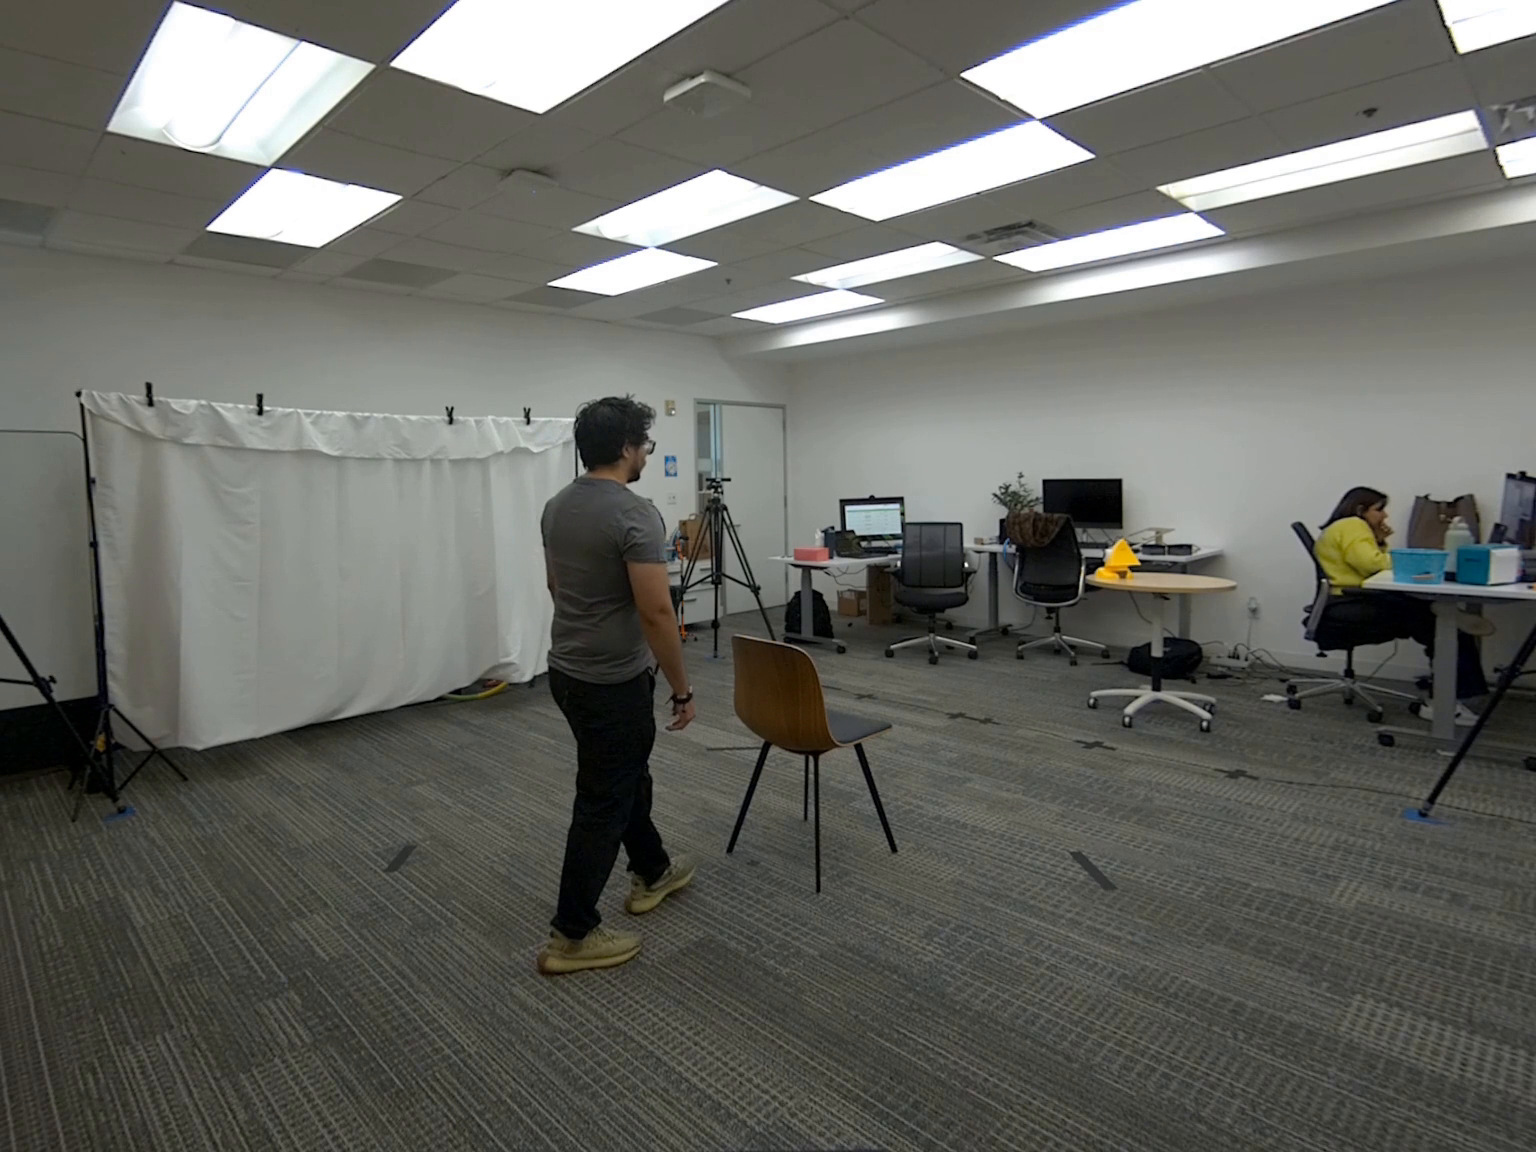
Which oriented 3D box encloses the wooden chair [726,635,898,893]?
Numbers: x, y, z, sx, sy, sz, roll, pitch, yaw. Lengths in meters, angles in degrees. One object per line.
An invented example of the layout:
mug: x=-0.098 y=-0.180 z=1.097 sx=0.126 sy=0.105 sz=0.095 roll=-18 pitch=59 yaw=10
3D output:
wooden chair: x=0.161 y=0.604 z=3.158 sx=0.493 sy=0.871 sz=0.511 roll=3 pitch=10 yaw=45
